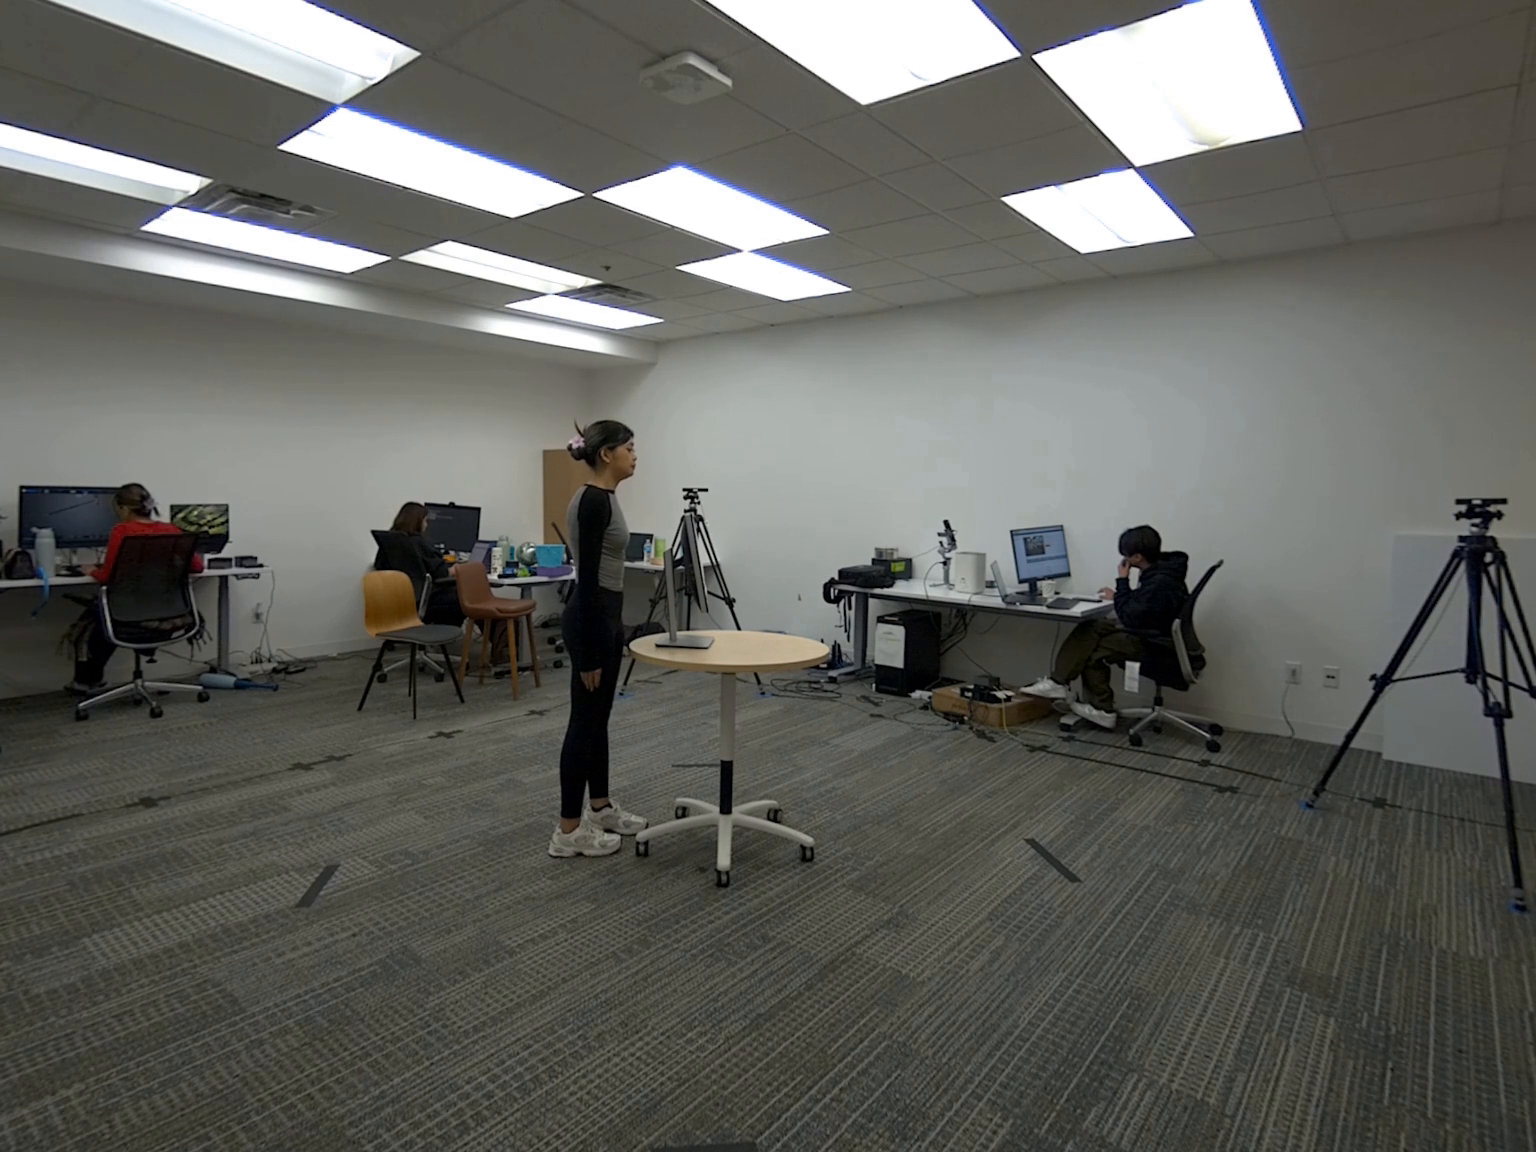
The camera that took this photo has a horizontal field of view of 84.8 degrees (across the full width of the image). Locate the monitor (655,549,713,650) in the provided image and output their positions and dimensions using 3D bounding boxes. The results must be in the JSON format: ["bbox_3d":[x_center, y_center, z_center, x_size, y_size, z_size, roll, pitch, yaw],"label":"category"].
[{"bbox_3d":[-0.328,0.013,3.291,0.186,0.521,0.543,2,3,-6],"label":"monitor"}]
